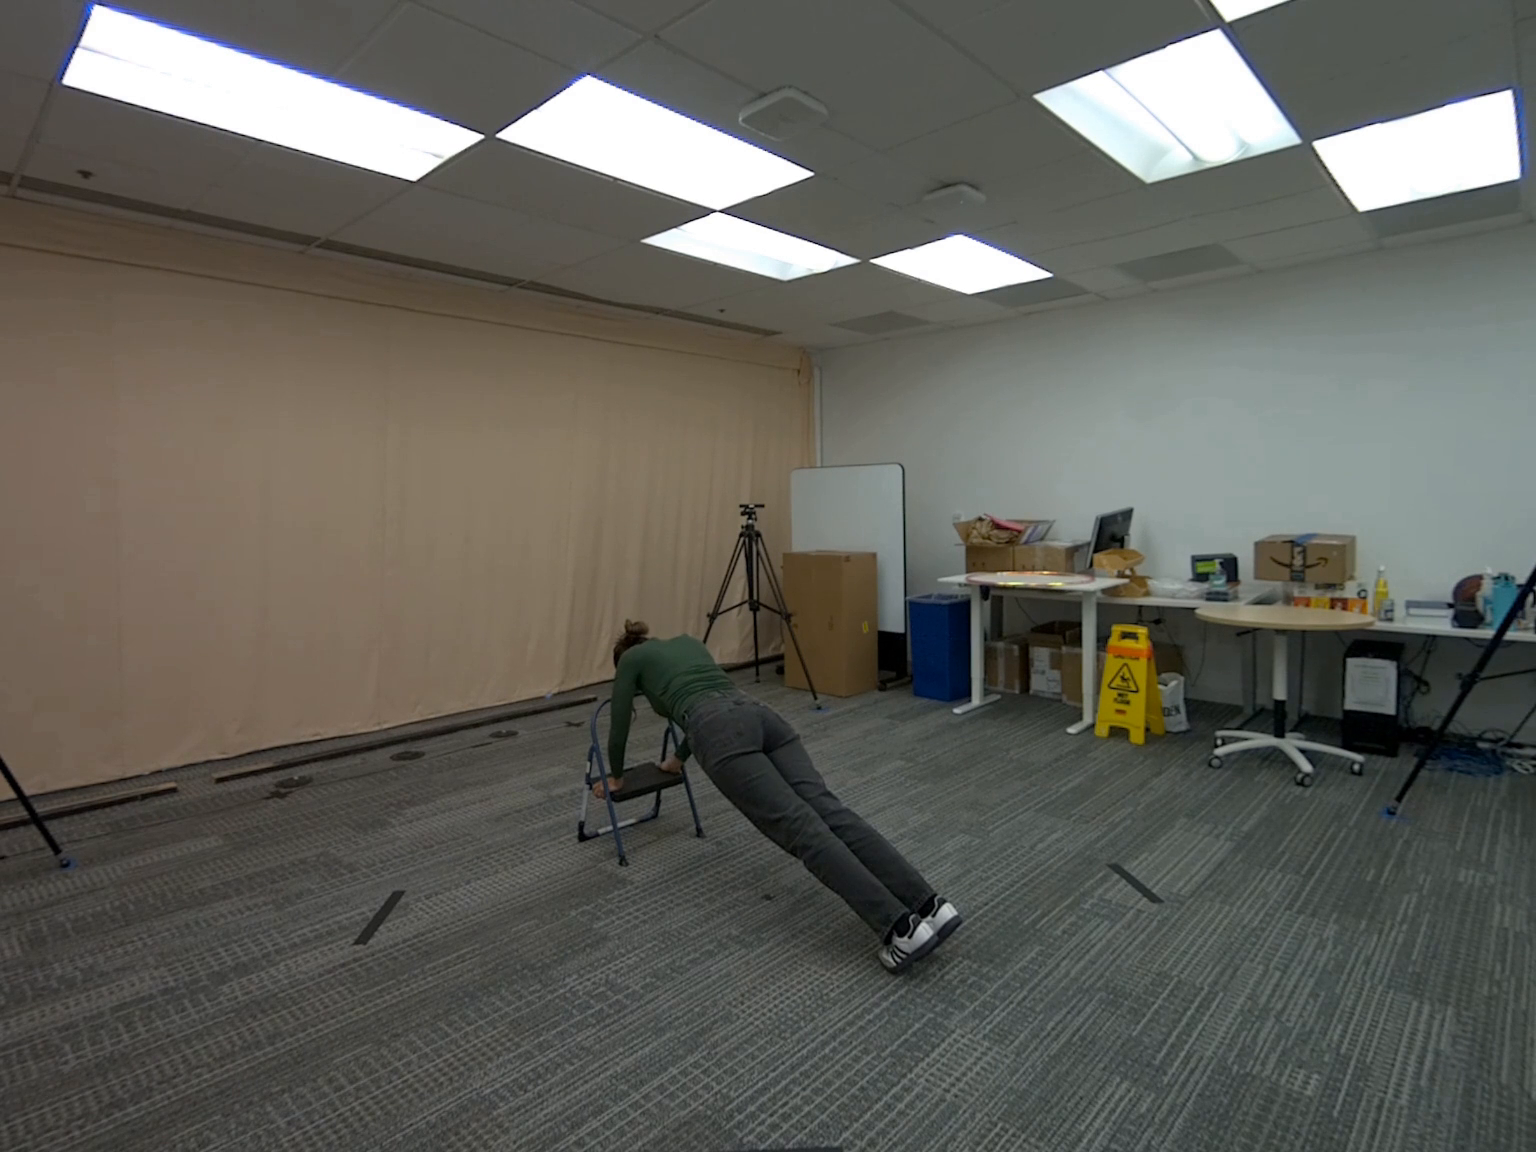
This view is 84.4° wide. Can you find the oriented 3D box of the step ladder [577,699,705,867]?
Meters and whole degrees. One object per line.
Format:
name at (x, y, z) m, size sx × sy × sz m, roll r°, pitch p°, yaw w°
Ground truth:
step ladder at (-0.539, 0.804, 3.525) m, size 0.417 × 0.605 × 0.361 m, roll -4°, pitch 4°, yaw -43°
